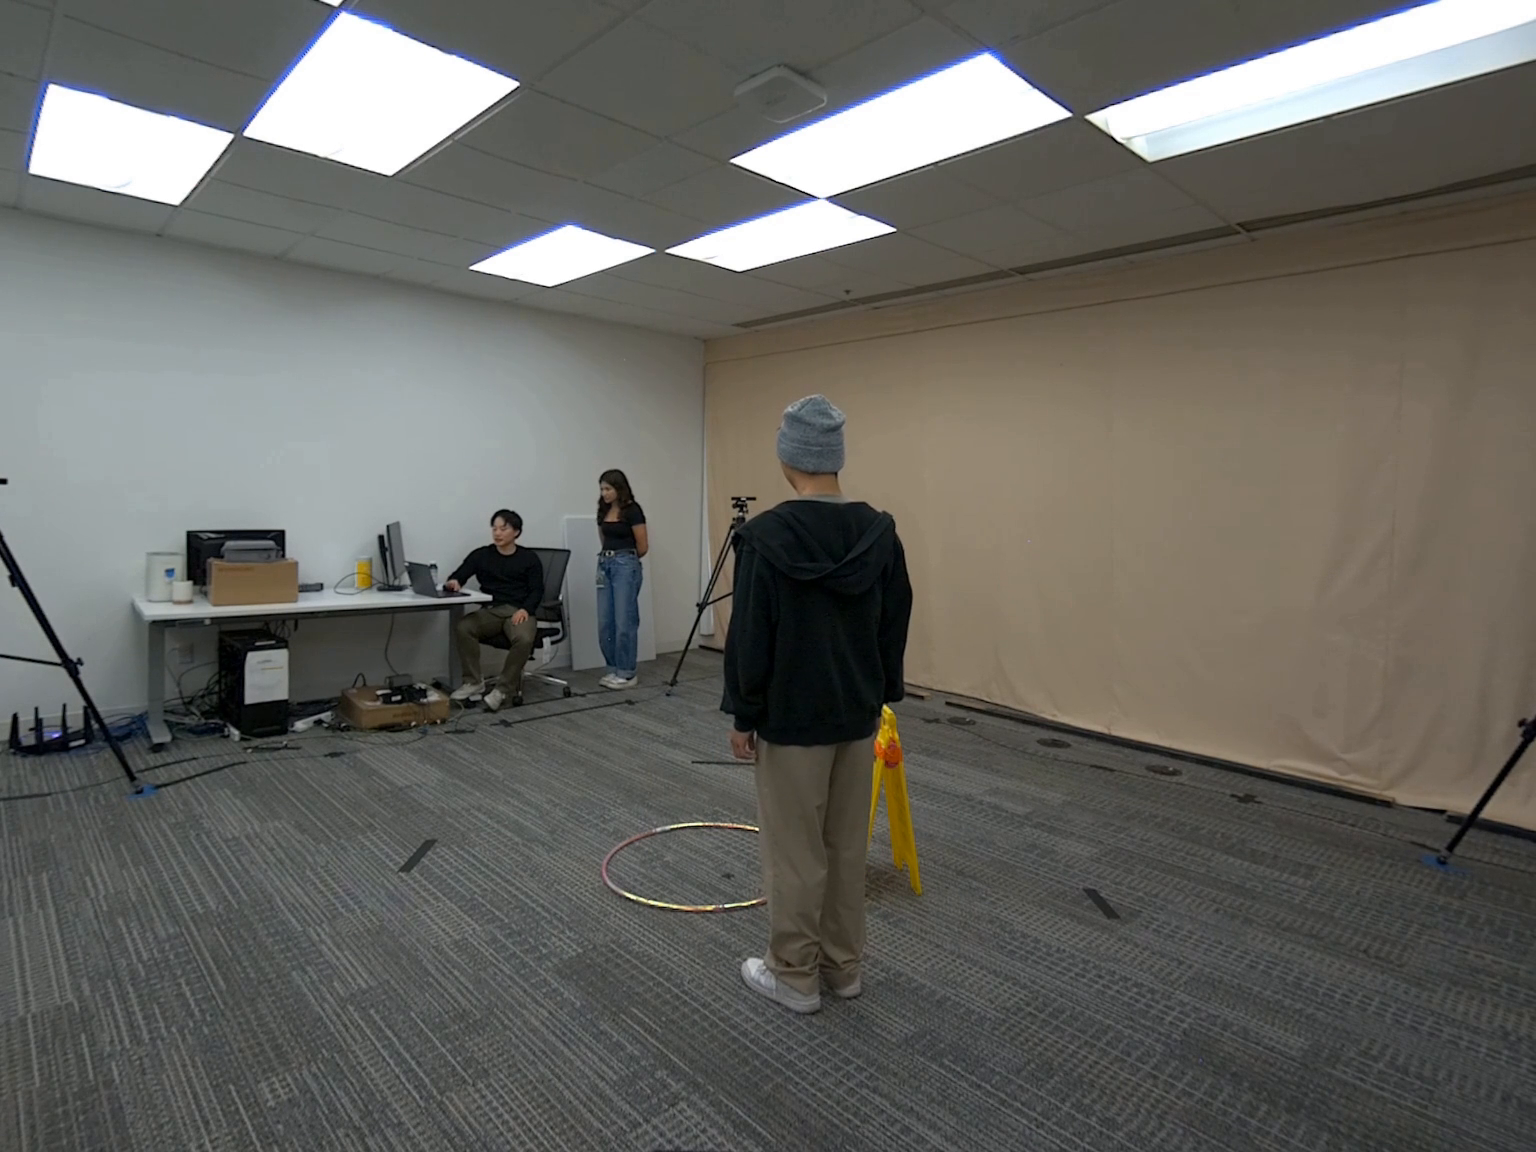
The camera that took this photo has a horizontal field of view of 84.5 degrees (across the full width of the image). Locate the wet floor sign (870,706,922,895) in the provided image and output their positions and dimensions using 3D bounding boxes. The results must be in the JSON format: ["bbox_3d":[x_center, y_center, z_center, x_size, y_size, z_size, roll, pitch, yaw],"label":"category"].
[{"bbox_3d":[0.408,0.799,3.079,0.288,0.644,0.284,2,3,-8],"label":"wet floor sign"}]
